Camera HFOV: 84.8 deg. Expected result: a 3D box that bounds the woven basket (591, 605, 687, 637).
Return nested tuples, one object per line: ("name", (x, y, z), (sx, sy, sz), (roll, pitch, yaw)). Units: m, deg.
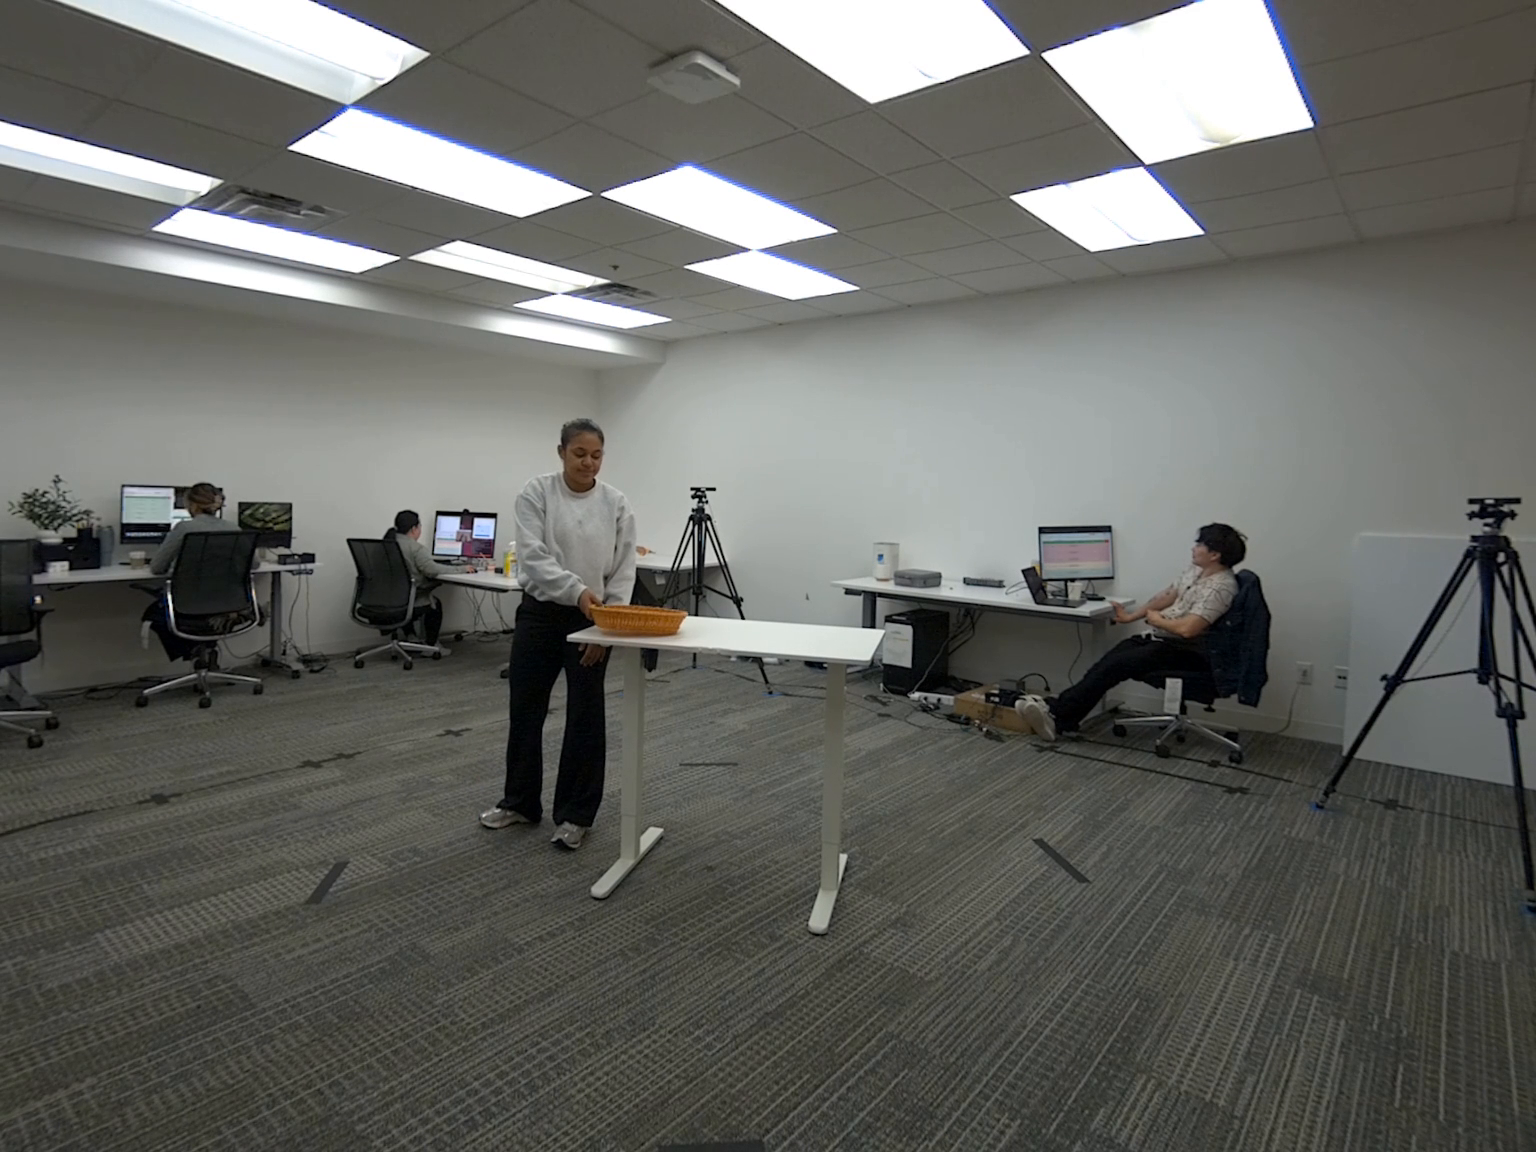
("woven basket", (-0.484, 0.139, 2.955), (0.347, 0.073, 0.255), (1, 3, -9))
